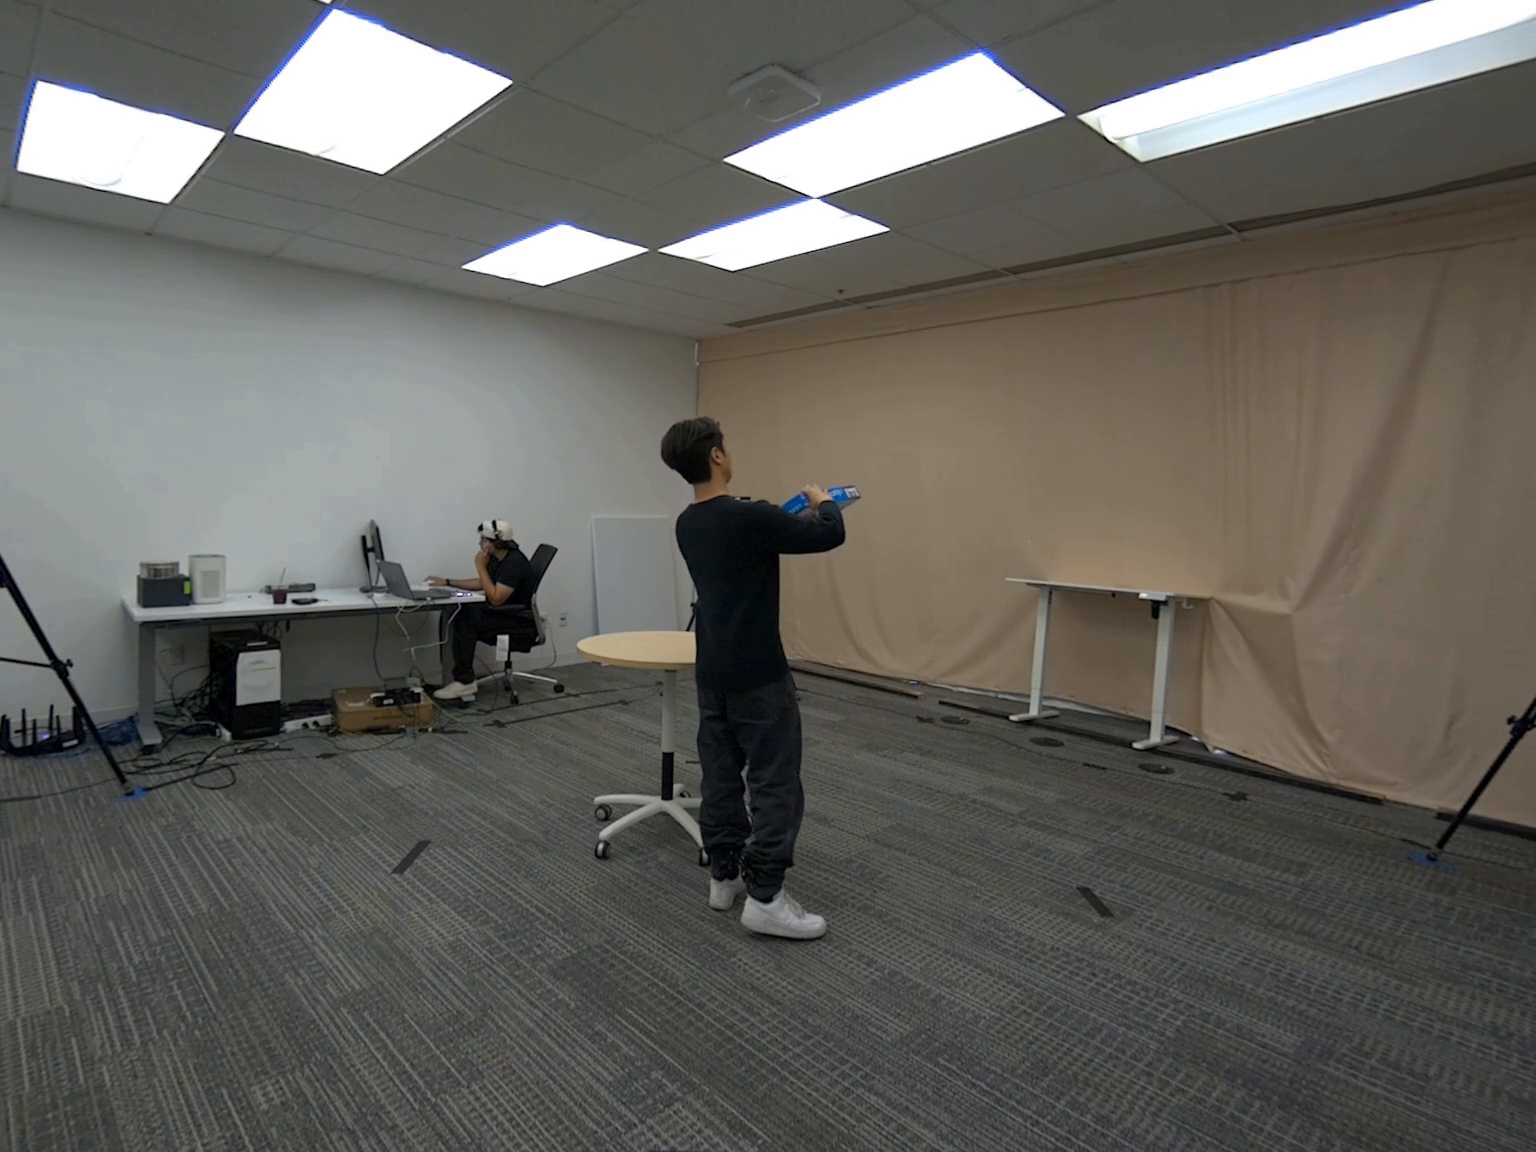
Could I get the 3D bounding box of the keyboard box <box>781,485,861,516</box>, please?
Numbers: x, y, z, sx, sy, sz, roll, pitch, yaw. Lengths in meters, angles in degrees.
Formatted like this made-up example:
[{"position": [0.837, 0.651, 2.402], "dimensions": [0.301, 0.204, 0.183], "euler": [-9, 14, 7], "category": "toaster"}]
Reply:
[{"position": [0.178, -0.266, 3.235], "dimensions": [0.177, 0.060, 0.429], "euler": [-33, -10, 35], "category": "keyboard box"}]
